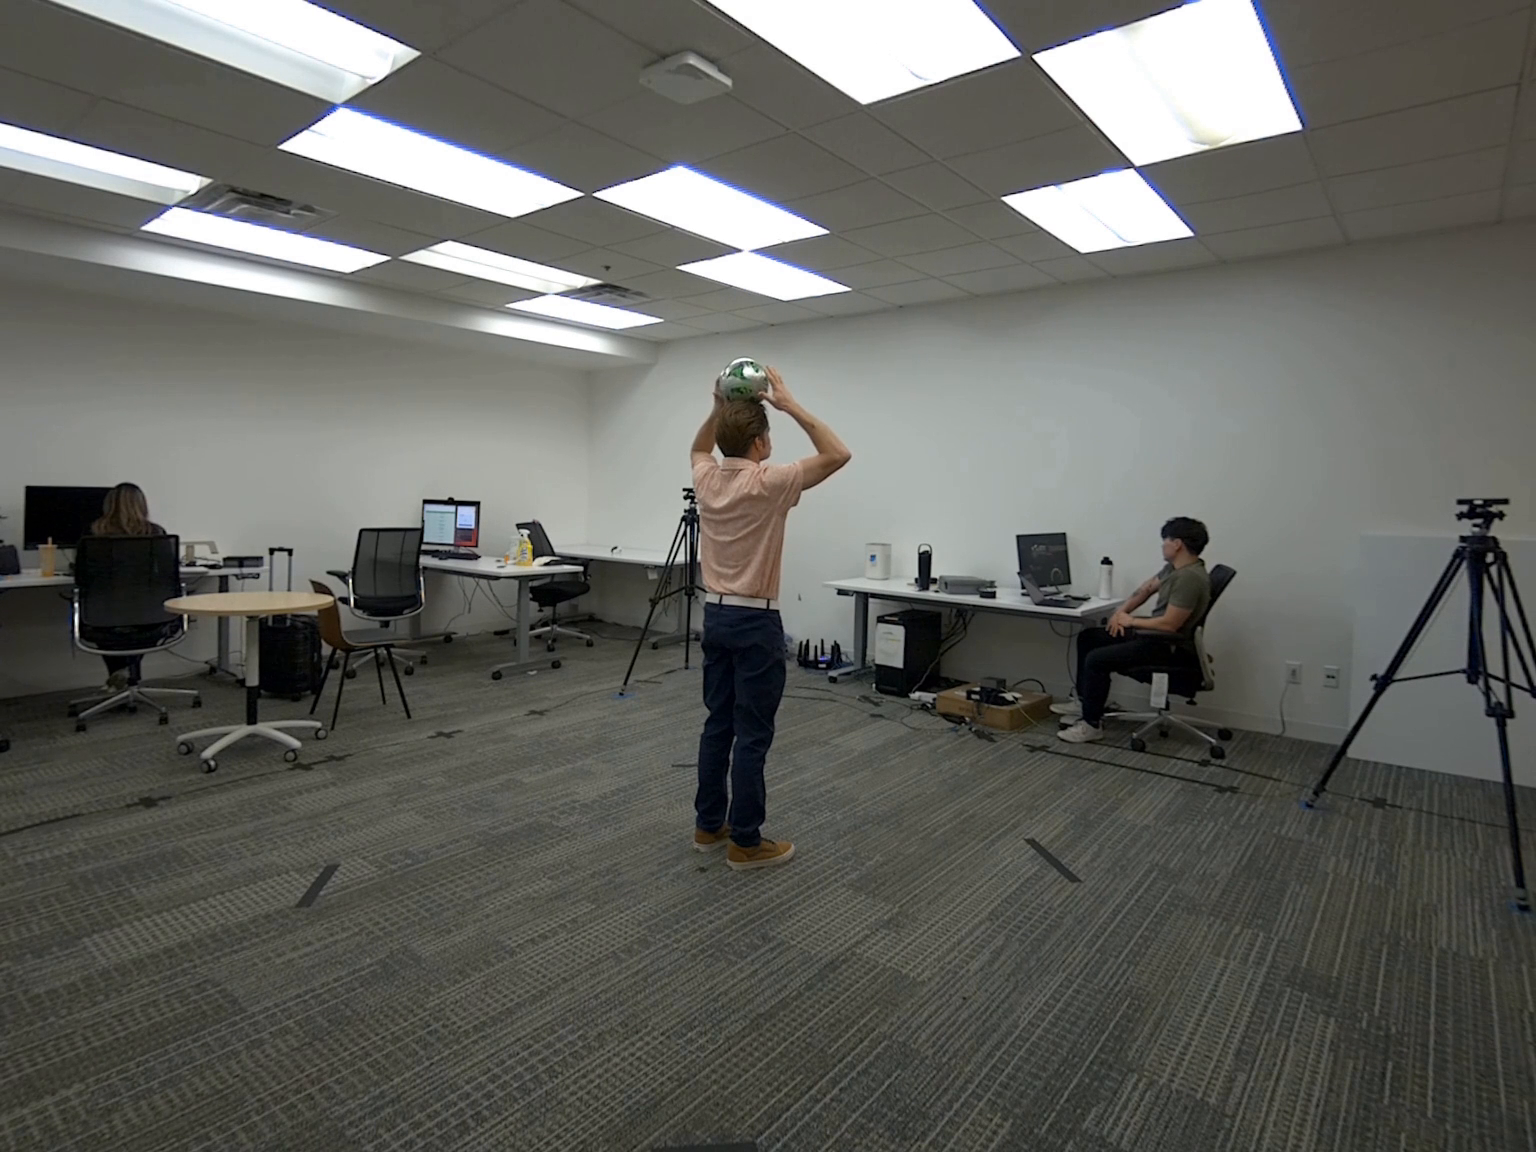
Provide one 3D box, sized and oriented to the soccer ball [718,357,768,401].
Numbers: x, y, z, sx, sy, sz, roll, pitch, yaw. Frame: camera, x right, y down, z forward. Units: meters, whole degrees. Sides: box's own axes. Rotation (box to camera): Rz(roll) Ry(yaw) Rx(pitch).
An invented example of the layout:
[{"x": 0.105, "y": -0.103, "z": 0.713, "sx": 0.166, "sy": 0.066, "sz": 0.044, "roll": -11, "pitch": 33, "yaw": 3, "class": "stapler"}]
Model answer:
[{"x": -0.094, "y": -0.725, "z": 3.203, "sx": 0.187, "sy": 0.187, "sz": 0.188, "roll": 1, "pitch": 4, "yaw": -2, "class": "soccer ball"}]
